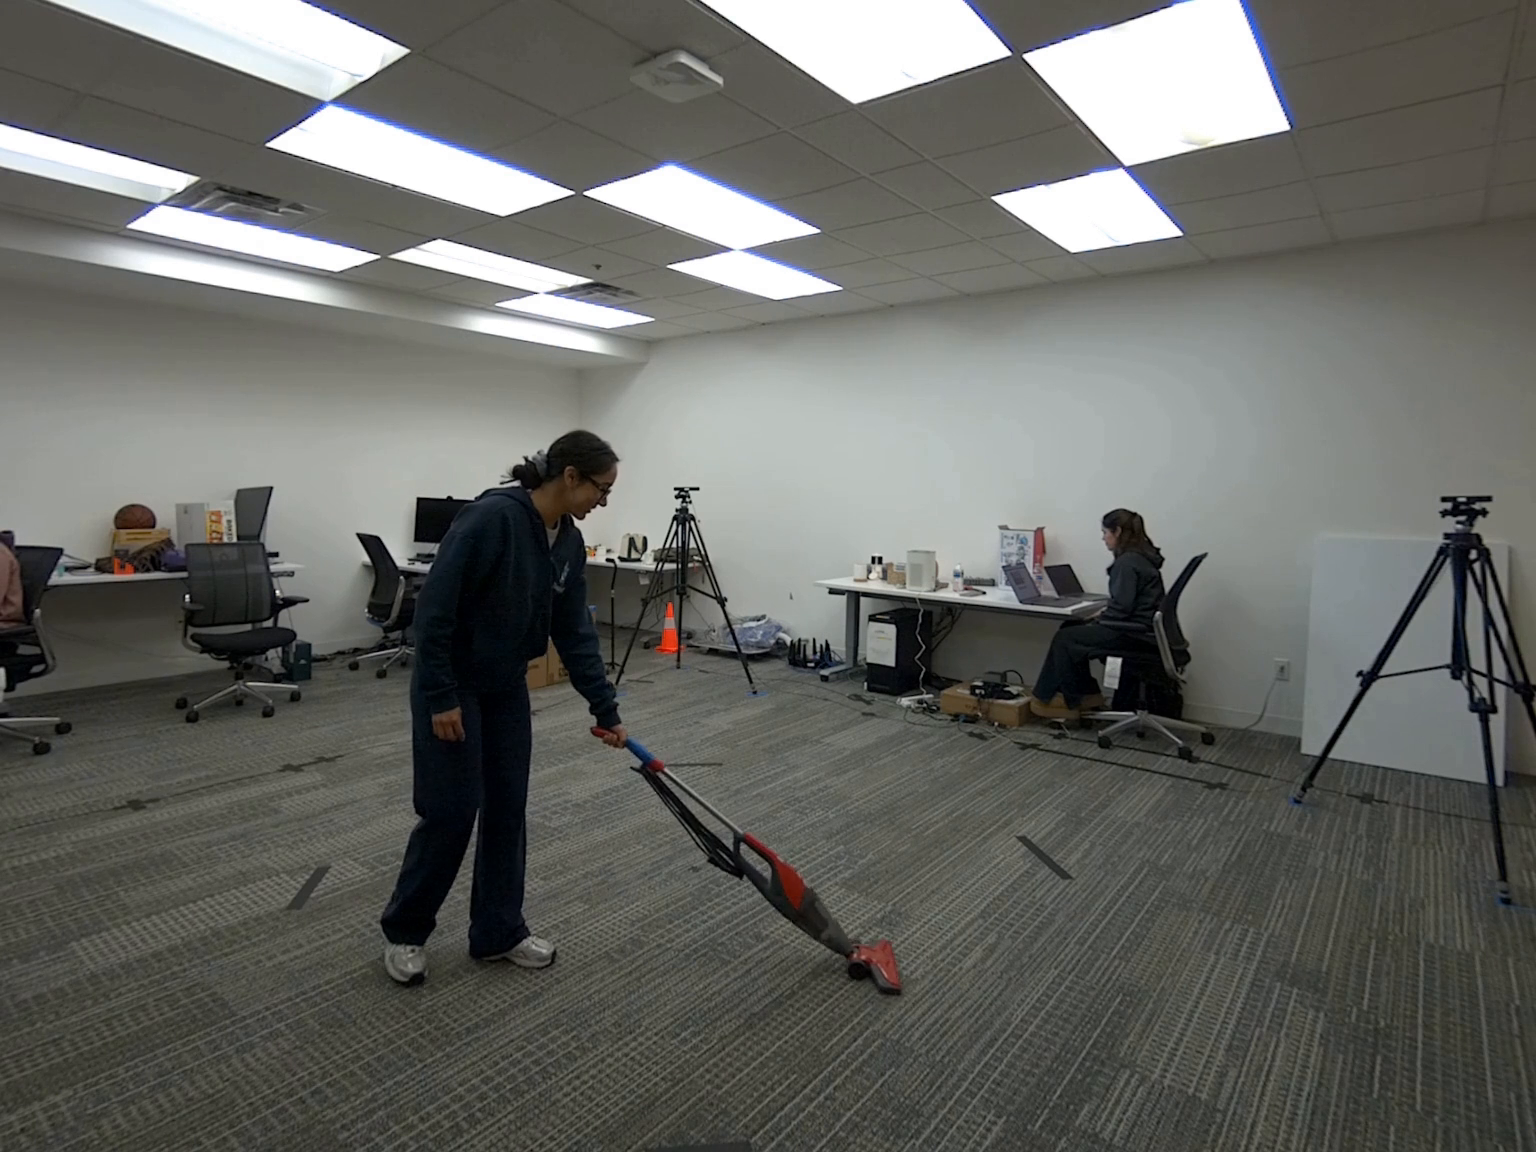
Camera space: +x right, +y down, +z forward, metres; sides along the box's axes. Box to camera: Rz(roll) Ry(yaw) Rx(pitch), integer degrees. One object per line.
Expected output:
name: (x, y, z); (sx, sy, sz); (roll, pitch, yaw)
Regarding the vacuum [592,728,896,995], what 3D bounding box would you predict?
vacuum: (-0.115, 0.795, 2.494); (1.053, 0.144, 0.252); (39, 7, 2)
